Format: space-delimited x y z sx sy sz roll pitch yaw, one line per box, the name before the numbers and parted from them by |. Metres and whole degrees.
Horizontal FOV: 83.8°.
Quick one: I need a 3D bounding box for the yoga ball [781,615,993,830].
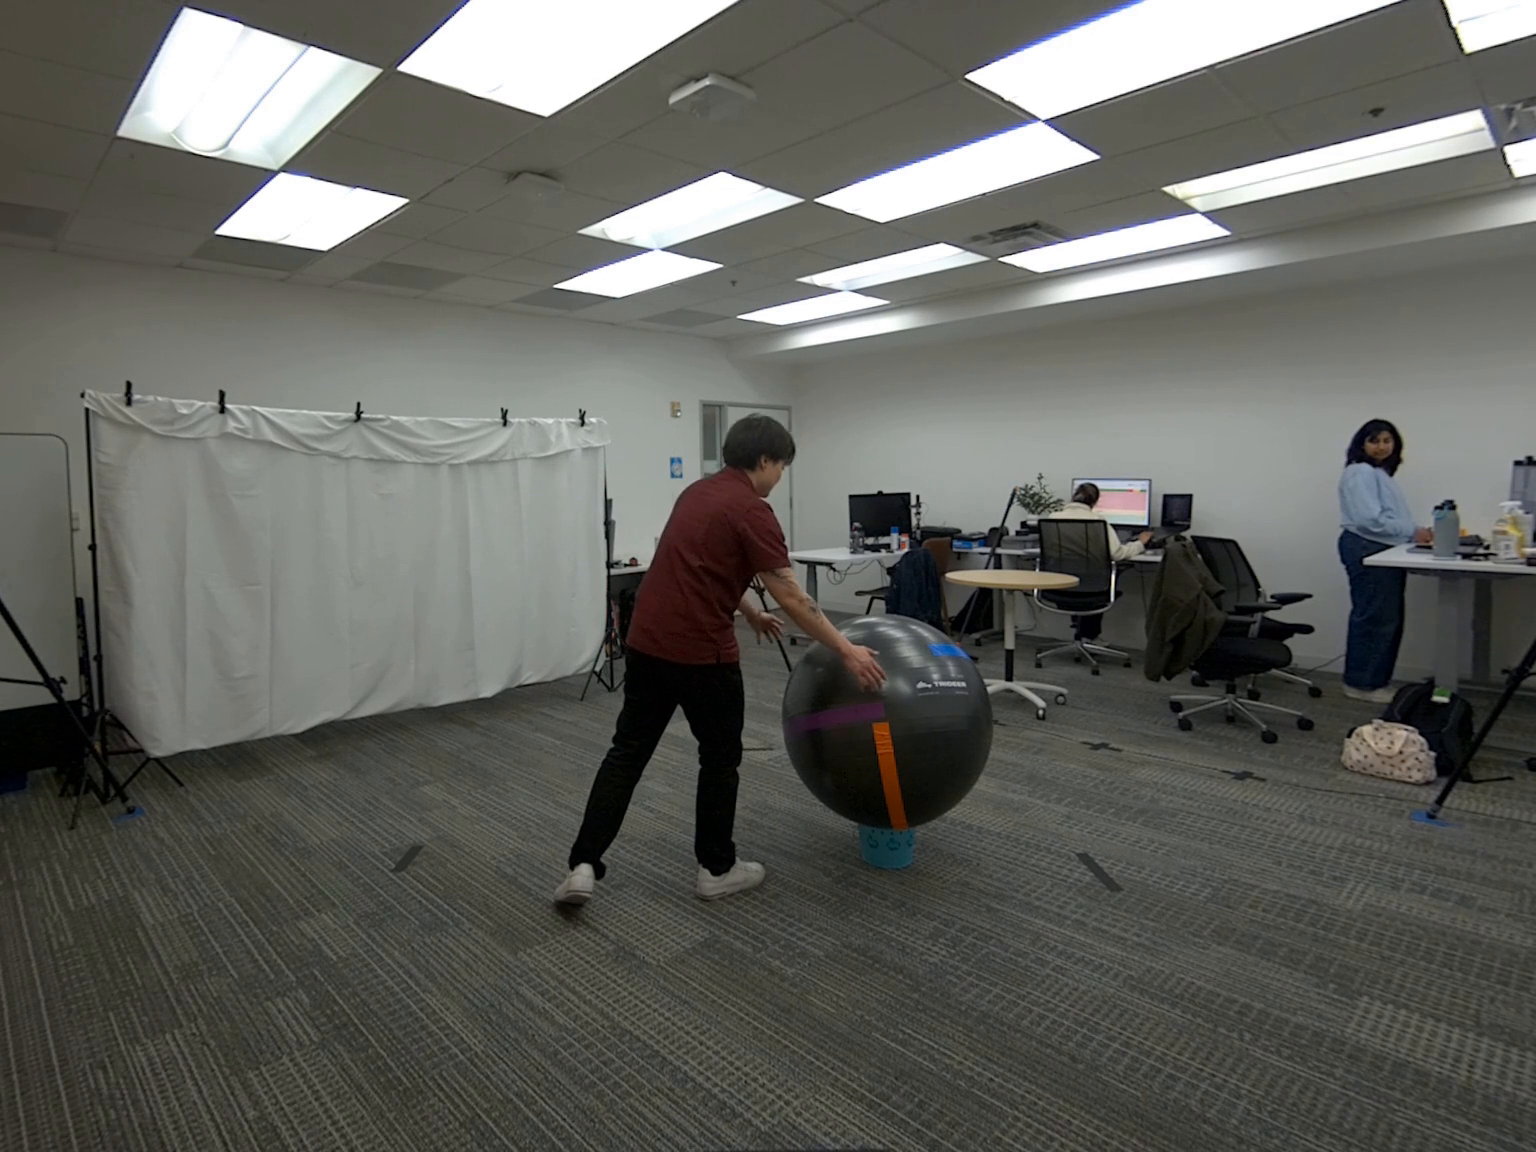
yoga ball | 0.441 0.532 3.128 0.757 0.755 0.762 -1 5 -2
